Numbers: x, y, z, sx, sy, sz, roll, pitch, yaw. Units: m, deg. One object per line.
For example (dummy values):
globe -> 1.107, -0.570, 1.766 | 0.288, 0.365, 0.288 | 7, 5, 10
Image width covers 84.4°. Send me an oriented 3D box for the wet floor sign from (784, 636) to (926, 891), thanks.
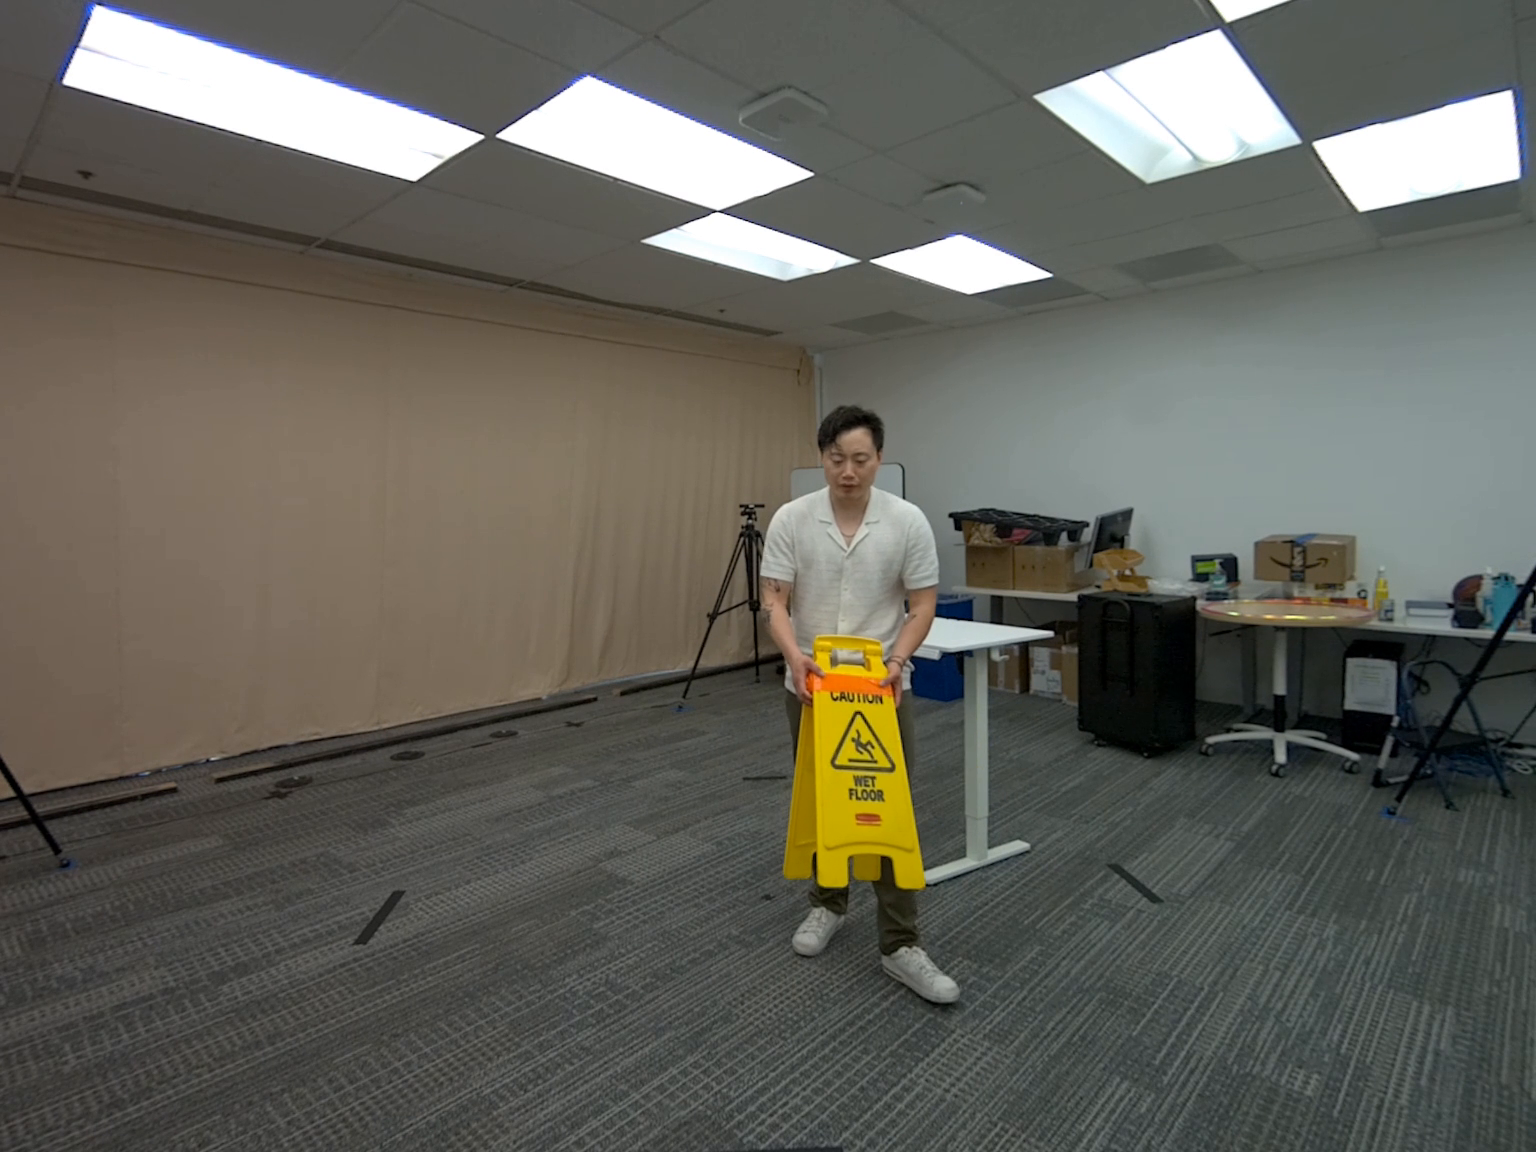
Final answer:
wet floor sign -> 0.226, 0.486, 2.271 | 0.278, 0.652, 0.291 | 7, -18, -13
